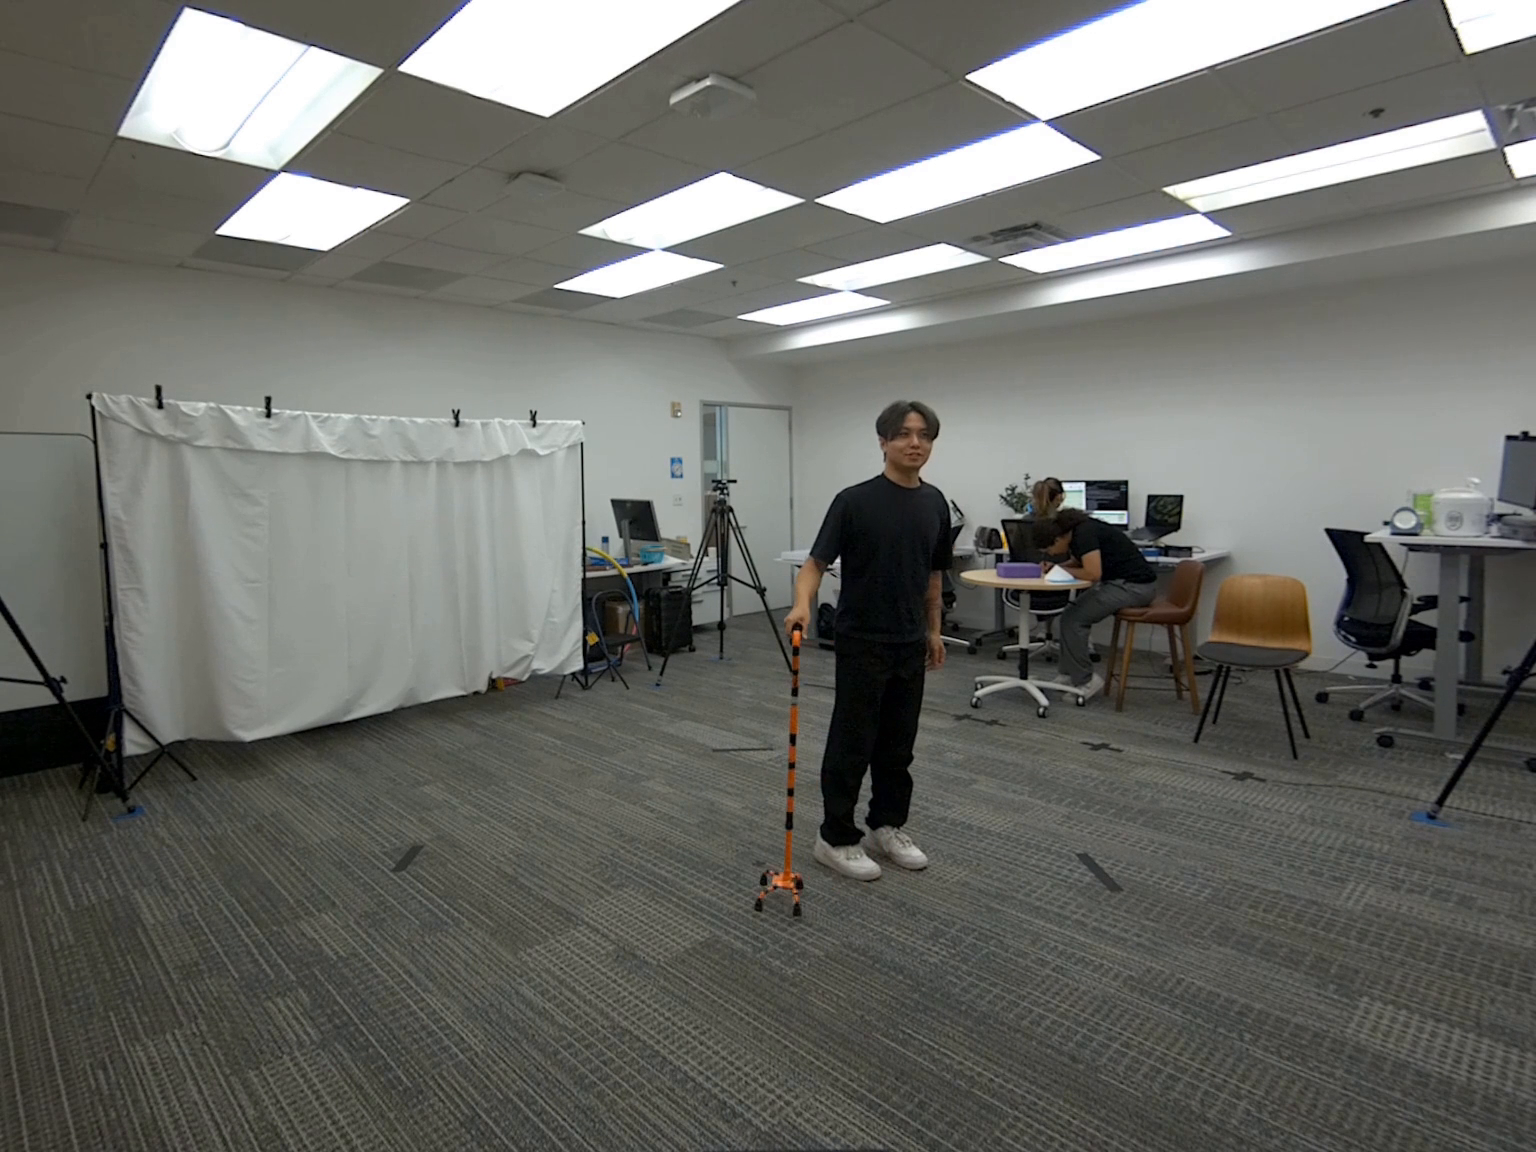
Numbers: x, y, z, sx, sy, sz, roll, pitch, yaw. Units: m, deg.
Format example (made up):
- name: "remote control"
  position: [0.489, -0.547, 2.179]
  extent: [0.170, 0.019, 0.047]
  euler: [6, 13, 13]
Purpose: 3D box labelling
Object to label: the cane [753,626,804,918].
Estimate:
- name: "cane"
  position: [0.067, 0.612, 2.765]
  extent: [0.152, 0.905, 0.206]
  euler: [2, 4, 3]
